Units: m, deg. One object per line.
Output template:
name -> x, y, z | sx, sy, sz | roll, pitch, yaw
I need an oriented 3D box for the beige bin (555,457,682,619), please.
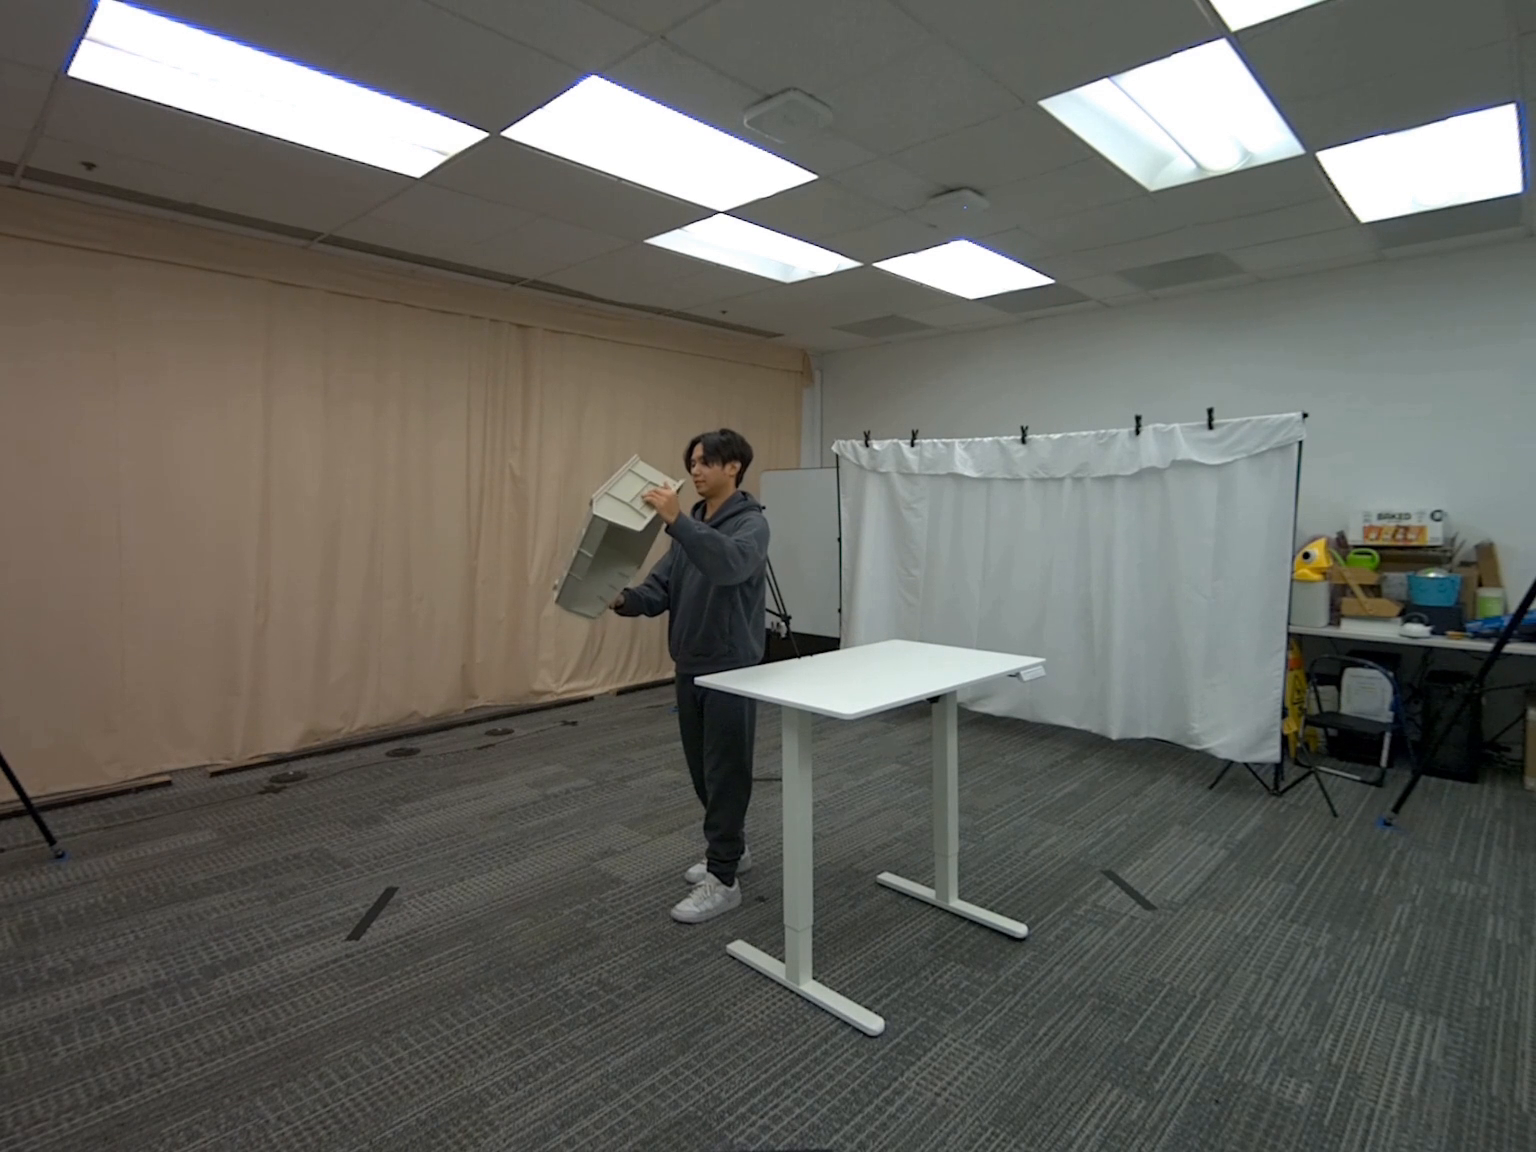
beige bin -> -0.484, -0.115, 2.697 | 0.189, 0.422, 0.376 | 31, 37, 0
